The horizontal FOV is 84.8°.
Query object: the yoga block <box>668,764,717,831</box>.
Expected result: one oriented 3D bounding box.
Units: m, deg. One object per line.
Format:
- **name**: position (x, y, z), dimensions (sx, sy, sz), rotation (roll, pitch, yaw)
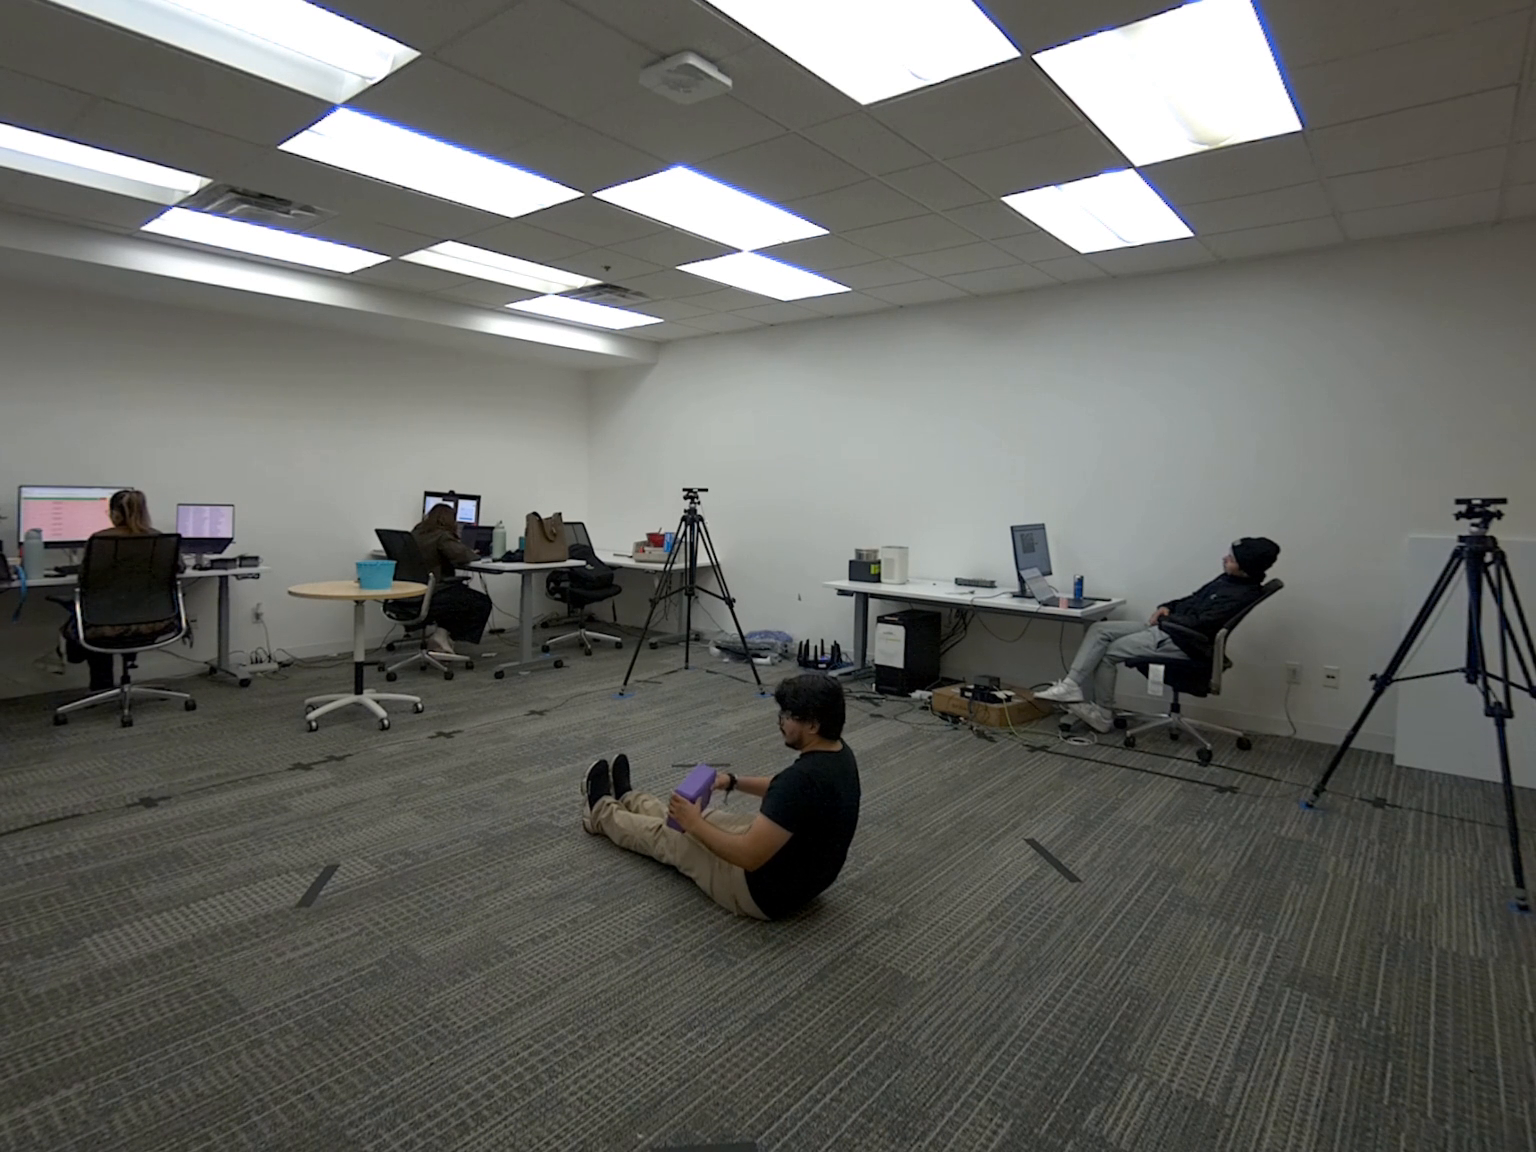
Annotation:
- **yoga block**: position (-0.271, 0.773, 2.946), dimensions (0.078, 0.147, 0.227), rotation (16, 16, 16)
